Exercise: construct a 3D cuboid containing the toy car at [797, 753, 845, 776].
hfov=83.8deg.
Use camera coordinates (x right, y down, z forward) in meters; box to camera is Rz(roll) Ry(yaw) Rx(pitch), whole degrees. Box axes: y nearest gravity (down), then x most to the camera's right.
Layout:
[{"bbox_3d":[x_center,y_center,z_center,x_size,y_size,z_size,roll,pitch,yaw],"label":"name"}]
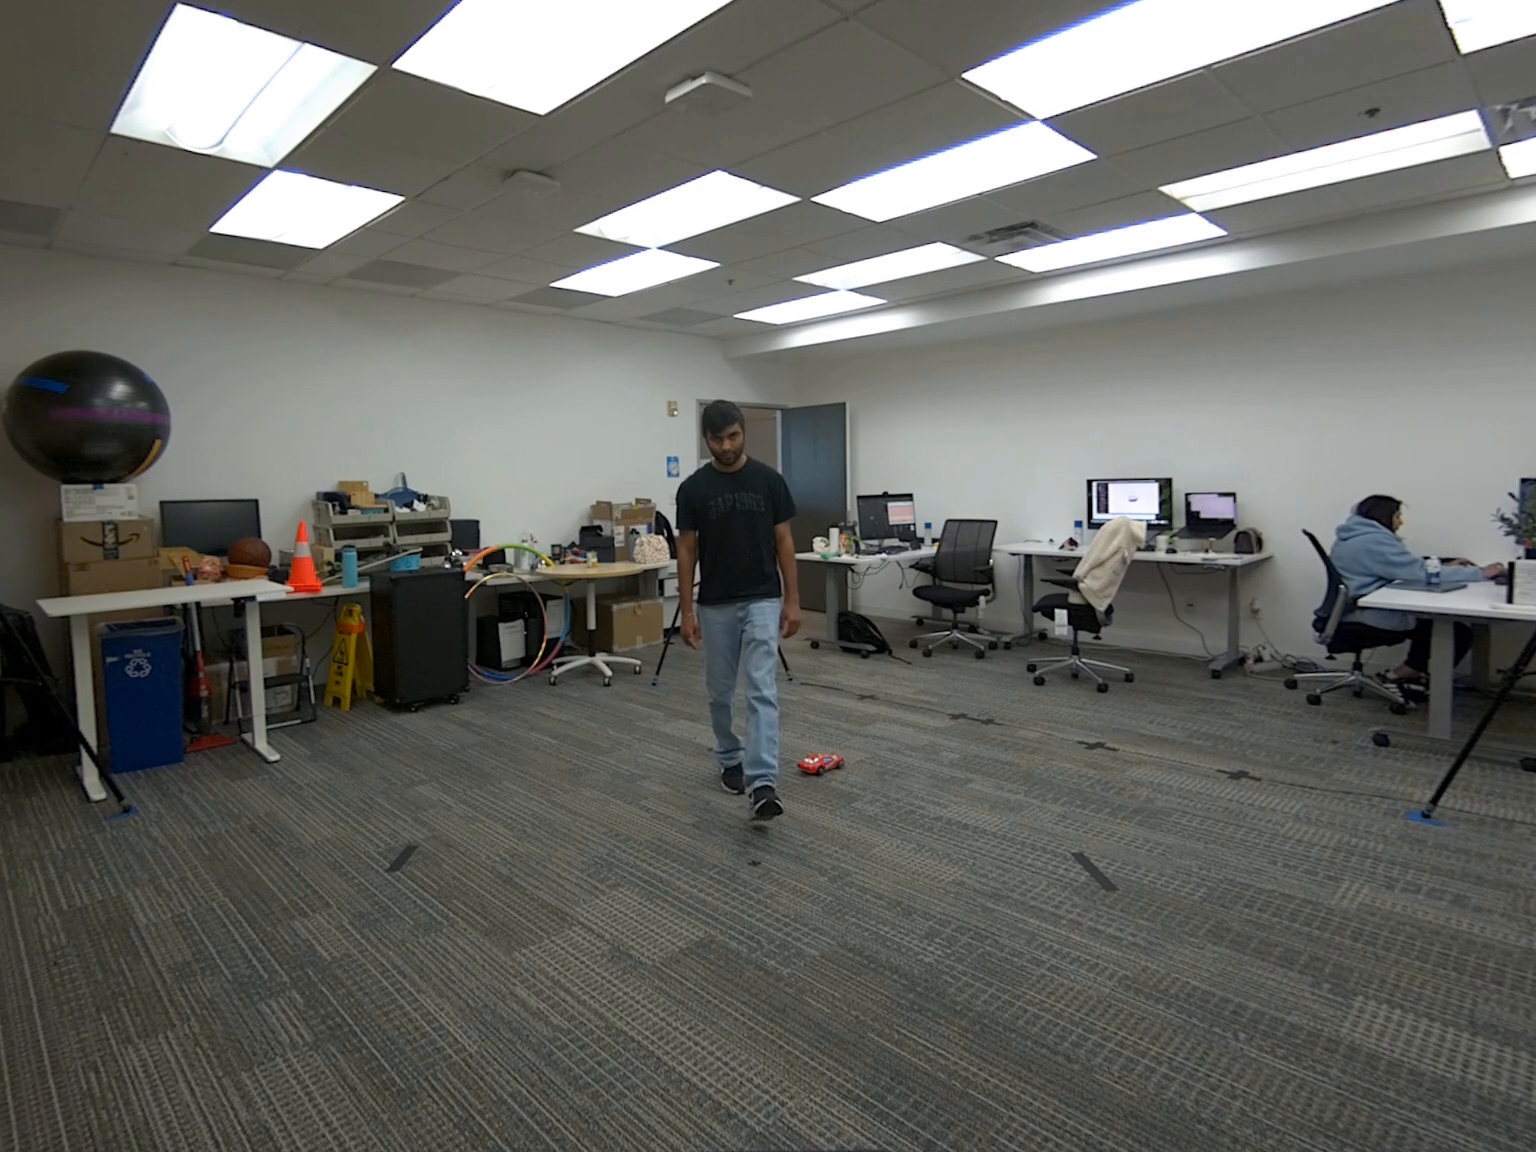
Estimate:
[{"bbox_3d":[0.255,0.900,4.091,0.246,0.083,0.134,7,0,-41],"label":"toy car"}]
